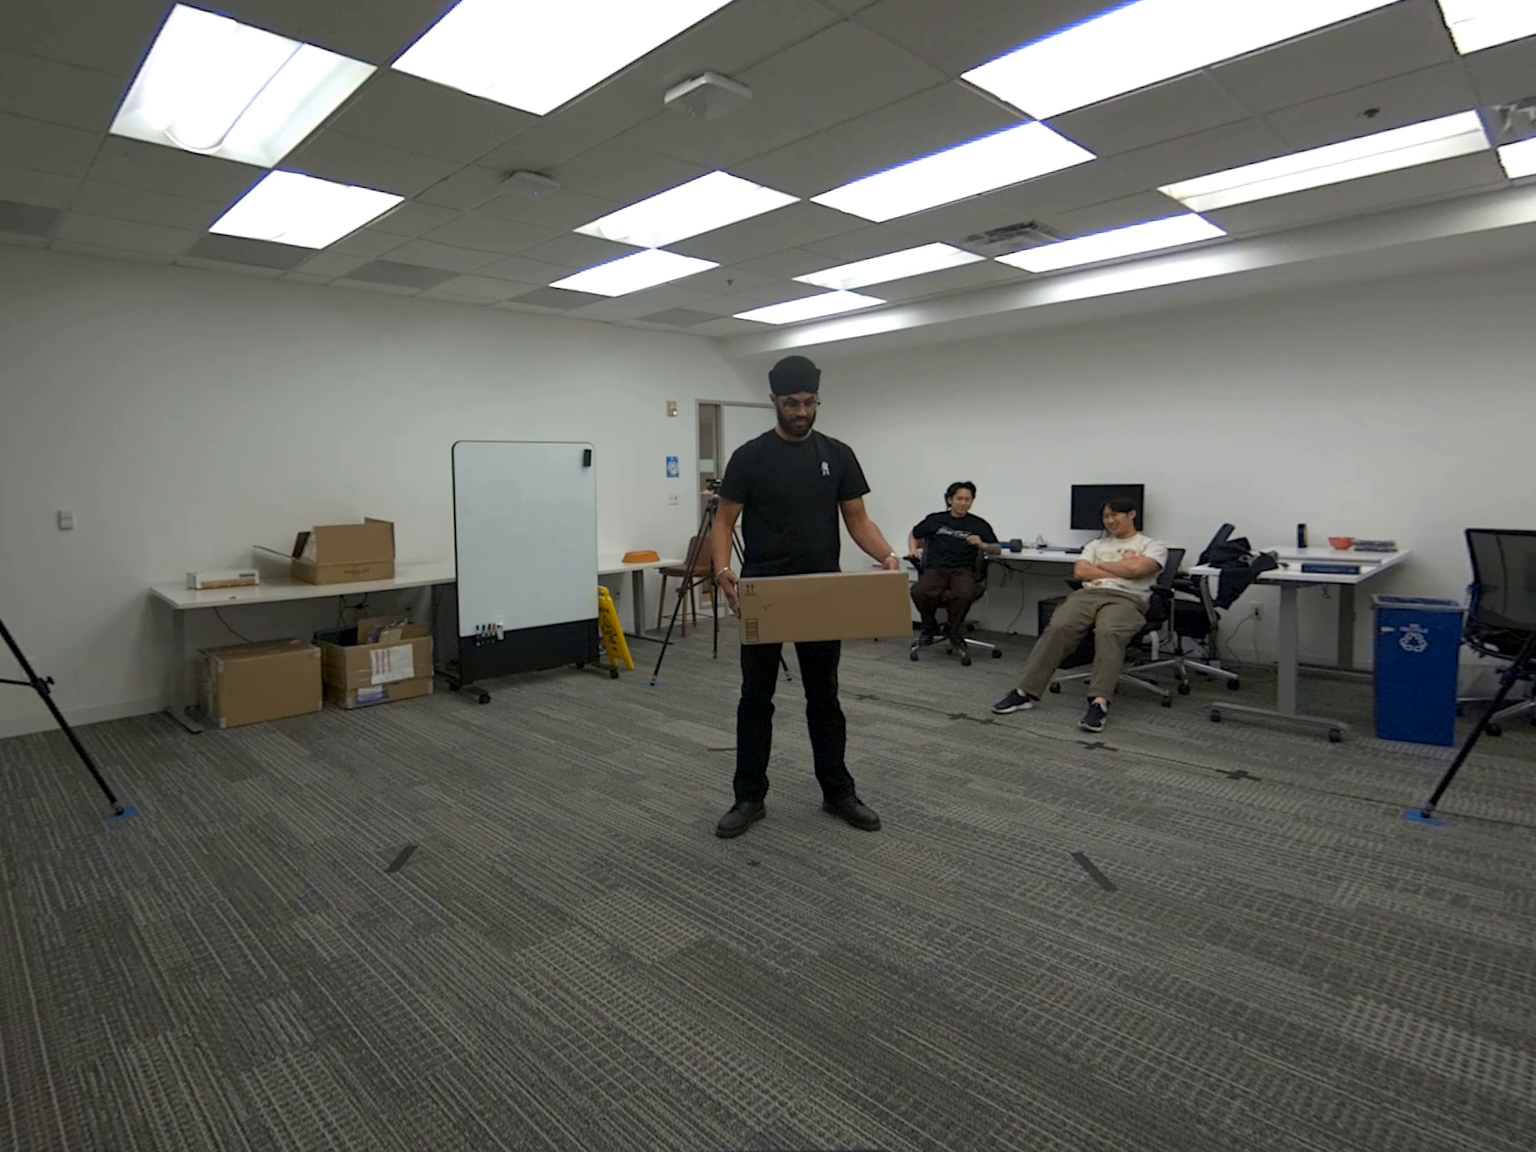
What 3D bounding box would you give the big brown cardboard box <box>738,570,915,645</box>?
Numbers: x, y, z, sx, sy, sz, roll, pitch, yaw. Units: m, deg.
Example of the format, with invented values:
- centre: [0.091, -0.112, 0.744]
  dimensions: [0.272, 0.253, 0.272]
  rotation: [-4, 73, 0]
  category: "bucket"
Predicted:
- centre: [0.174, 0.114, 3.028]
  dimensions: [0.587, 0.233, 0.418]
  rotation: [-4, 0, -4]
  category: "big brown cardboard box"
